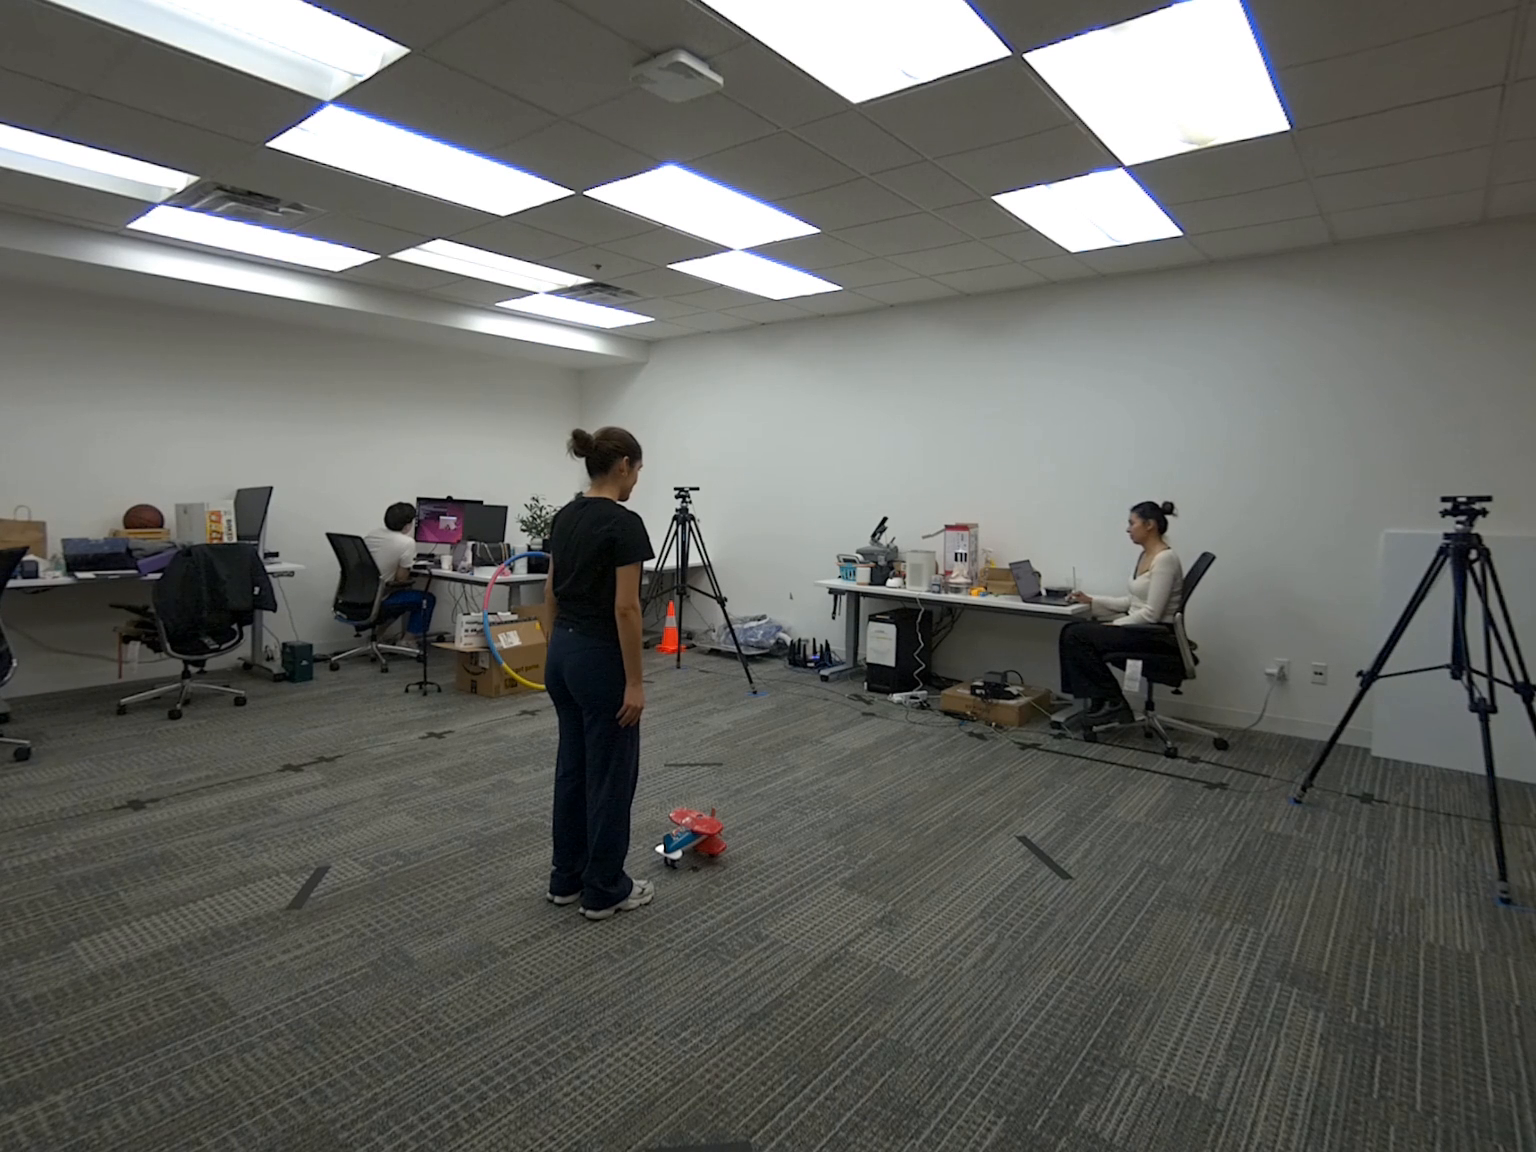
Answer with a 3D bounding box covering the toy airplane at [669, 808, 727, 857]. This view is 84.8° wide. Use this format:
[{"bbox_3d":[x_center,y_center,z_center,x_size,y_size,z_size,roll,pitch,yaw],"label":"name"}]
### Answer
[{"bbox_3d":[-0.264,0.980,3.186,0.255,0.156,0.255,2,3,16],"label":"toy airplane"}]
